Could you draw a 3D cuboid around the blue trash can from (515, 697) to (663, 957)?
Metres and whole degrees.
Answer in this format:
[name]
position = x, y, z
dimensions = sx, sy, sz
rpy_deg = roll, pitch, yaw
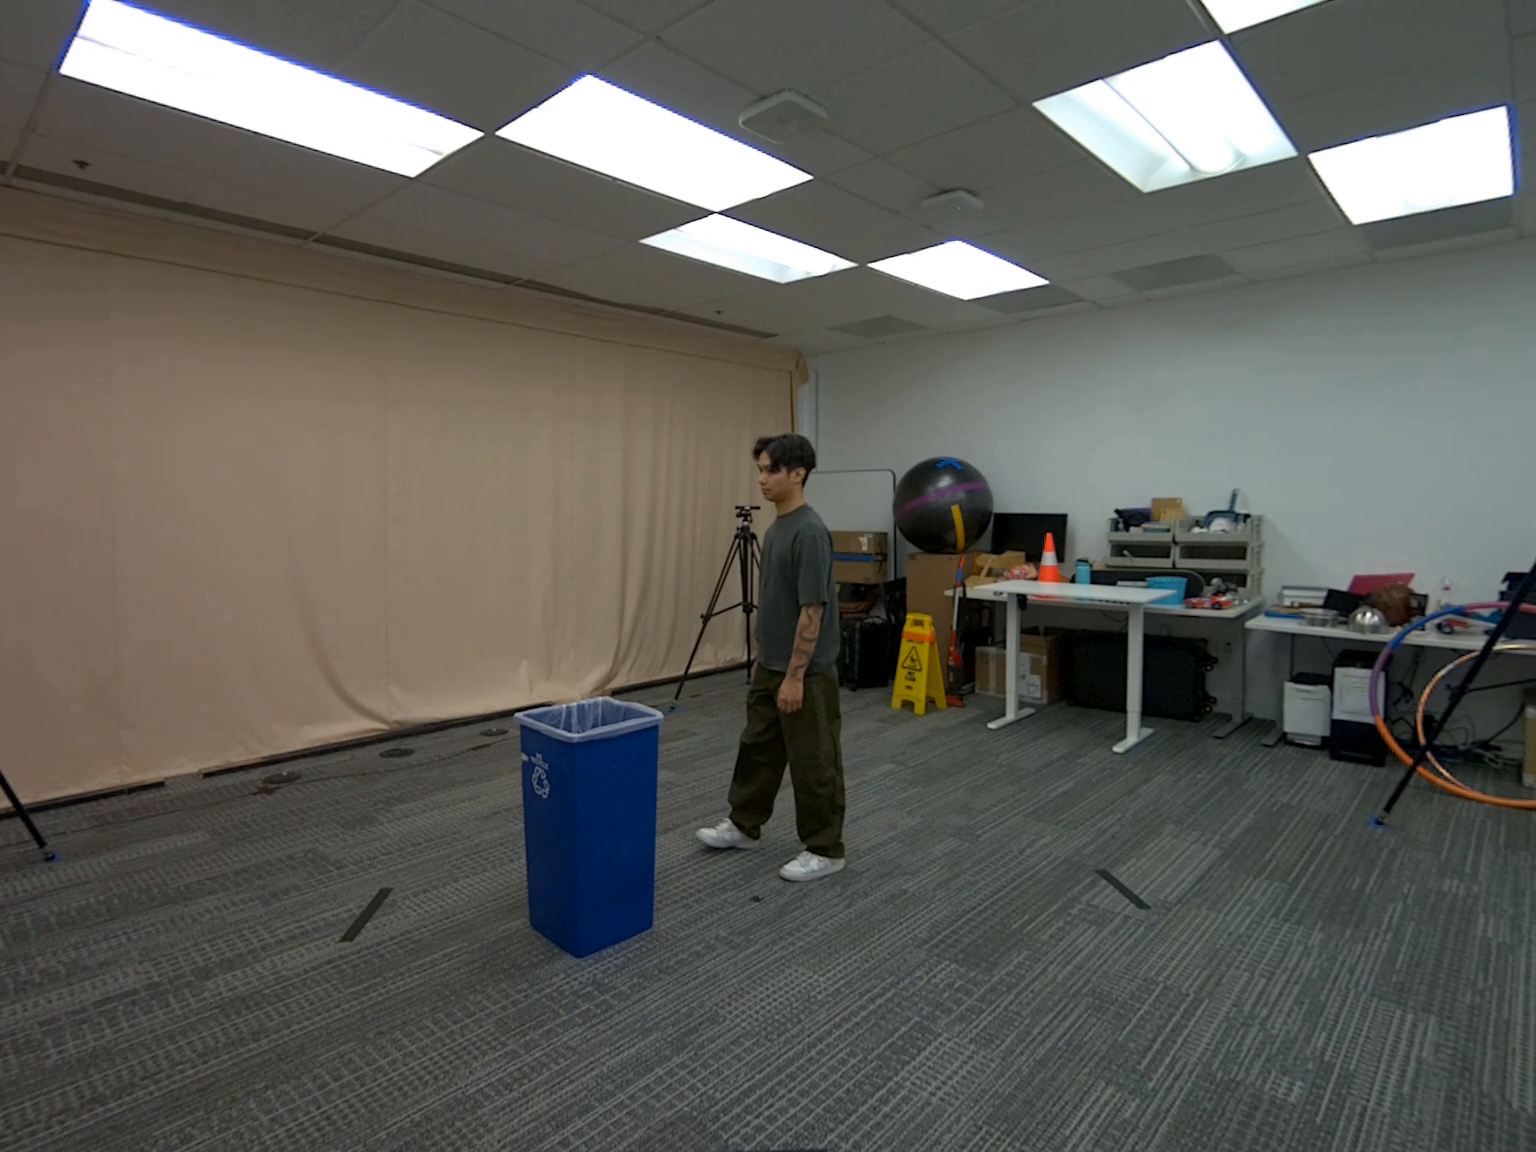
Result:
[blue trash can]
position = -0.587, 0.807, 2.784
dimensions = 0.391, 0.712, 0.363
rpy_deg = 3, 6, 44
